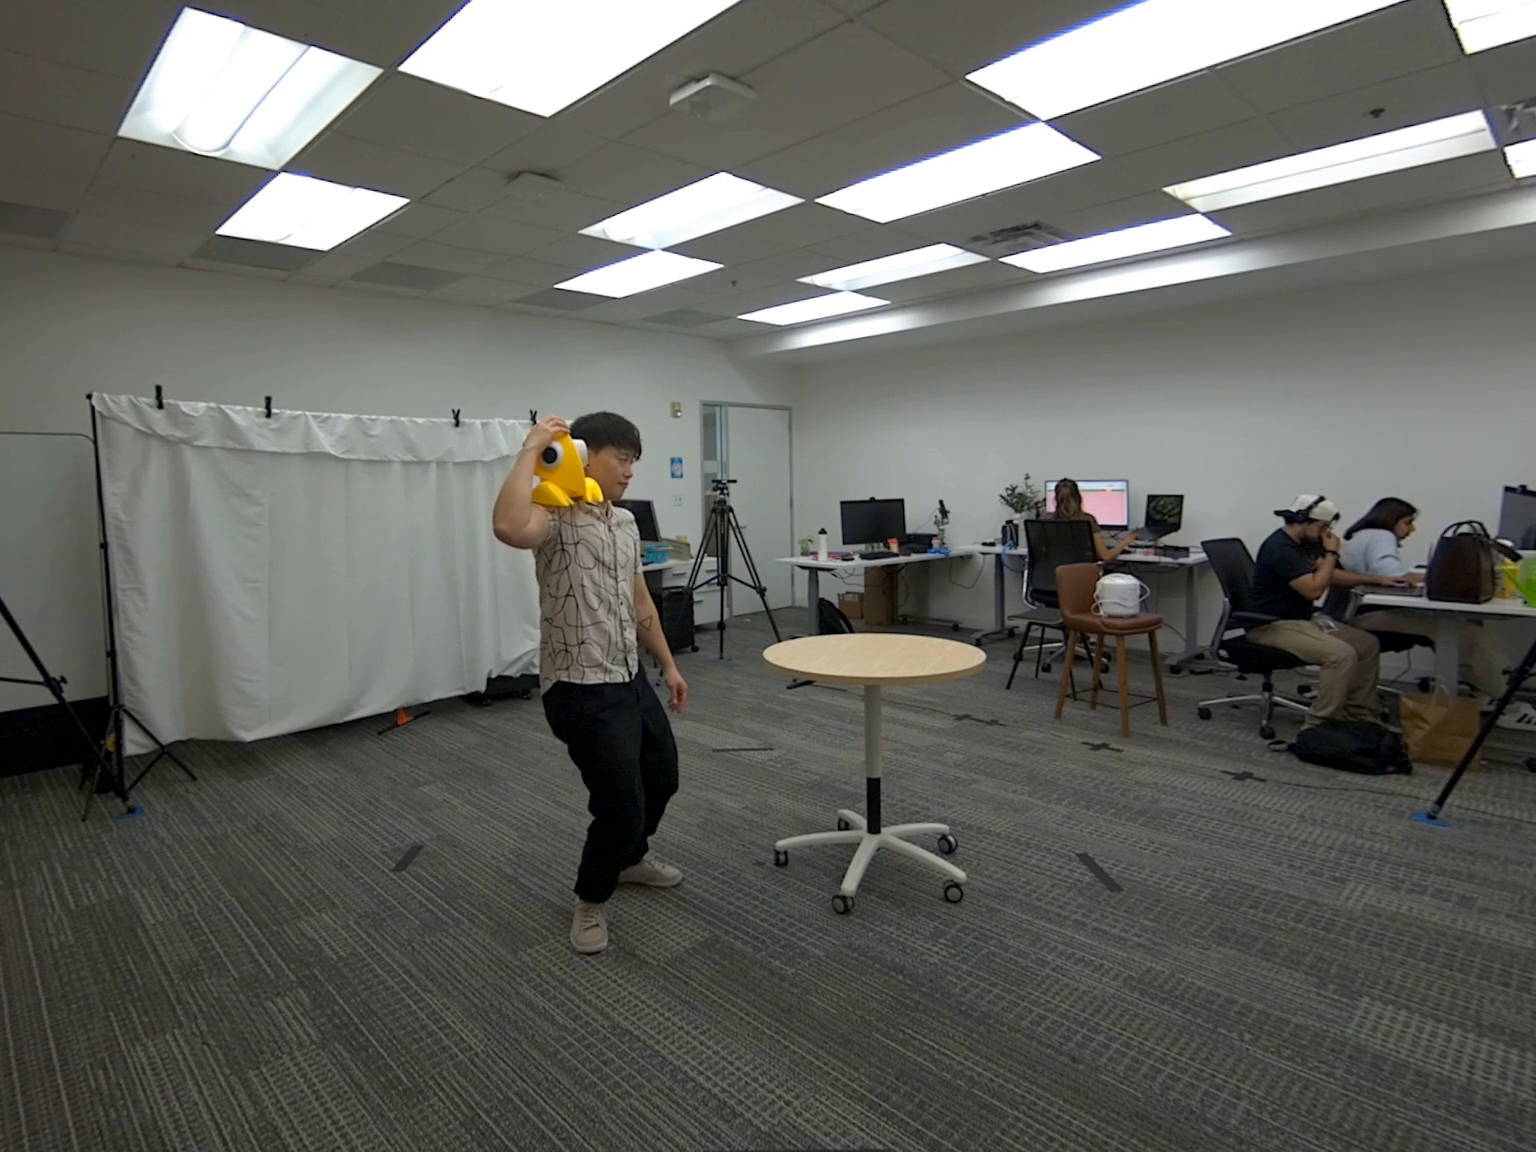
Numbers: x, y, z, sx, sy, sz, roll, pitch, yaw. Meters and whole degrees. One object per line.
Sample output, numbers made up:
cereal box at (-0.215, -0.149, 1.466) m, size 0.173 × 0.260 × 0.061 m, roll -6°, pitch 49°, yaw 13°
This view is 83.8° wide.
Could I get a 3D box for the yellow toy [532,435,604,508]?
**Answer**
yellow toy at (-0.575, -0.330, 2.405) m, size 0.199 × 0.228 × 0.200 m, roll 14°, pitch 17°, yaw 36°
